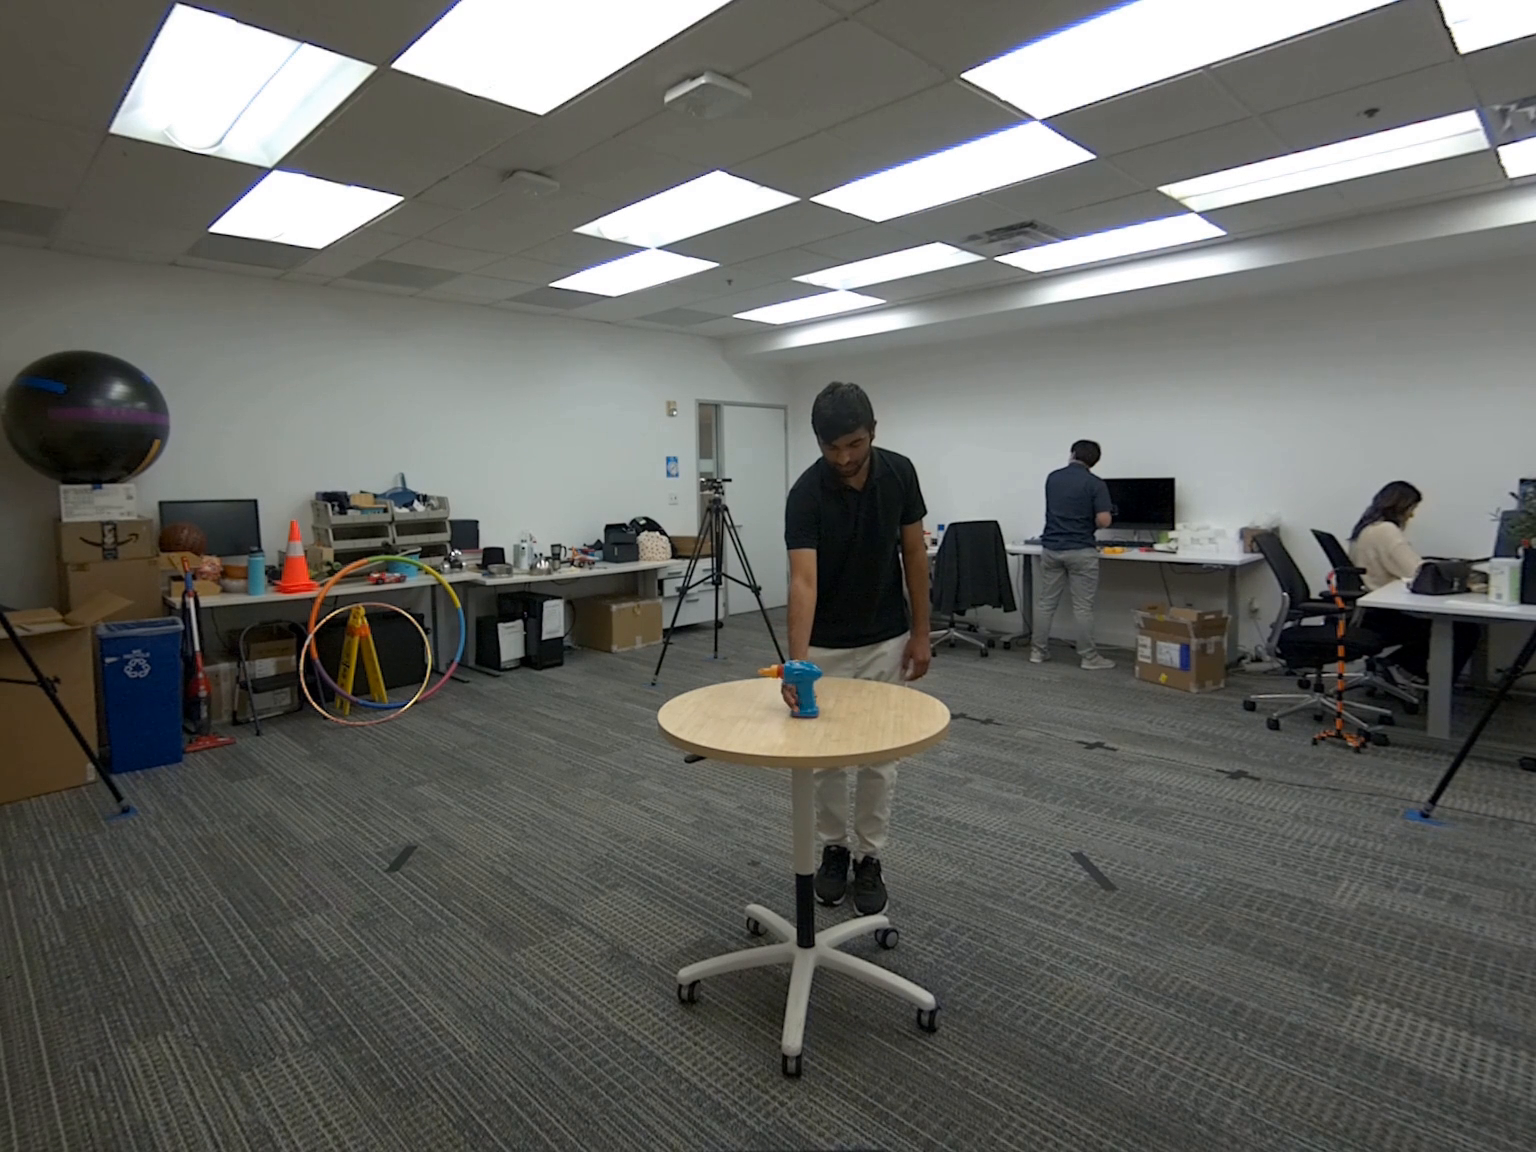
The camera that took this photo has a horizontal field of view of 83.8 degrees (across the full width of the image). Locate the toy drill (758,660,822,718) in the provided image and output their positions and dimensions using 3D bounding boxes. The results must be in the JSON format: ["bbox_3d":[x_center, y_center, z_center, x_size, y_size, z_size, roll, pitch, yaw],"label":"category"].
[{"bbox_3d":[0.067,0.293,2.209,0.172,0.145,0.060,-2,4,14],"label":"toy drill"}]
